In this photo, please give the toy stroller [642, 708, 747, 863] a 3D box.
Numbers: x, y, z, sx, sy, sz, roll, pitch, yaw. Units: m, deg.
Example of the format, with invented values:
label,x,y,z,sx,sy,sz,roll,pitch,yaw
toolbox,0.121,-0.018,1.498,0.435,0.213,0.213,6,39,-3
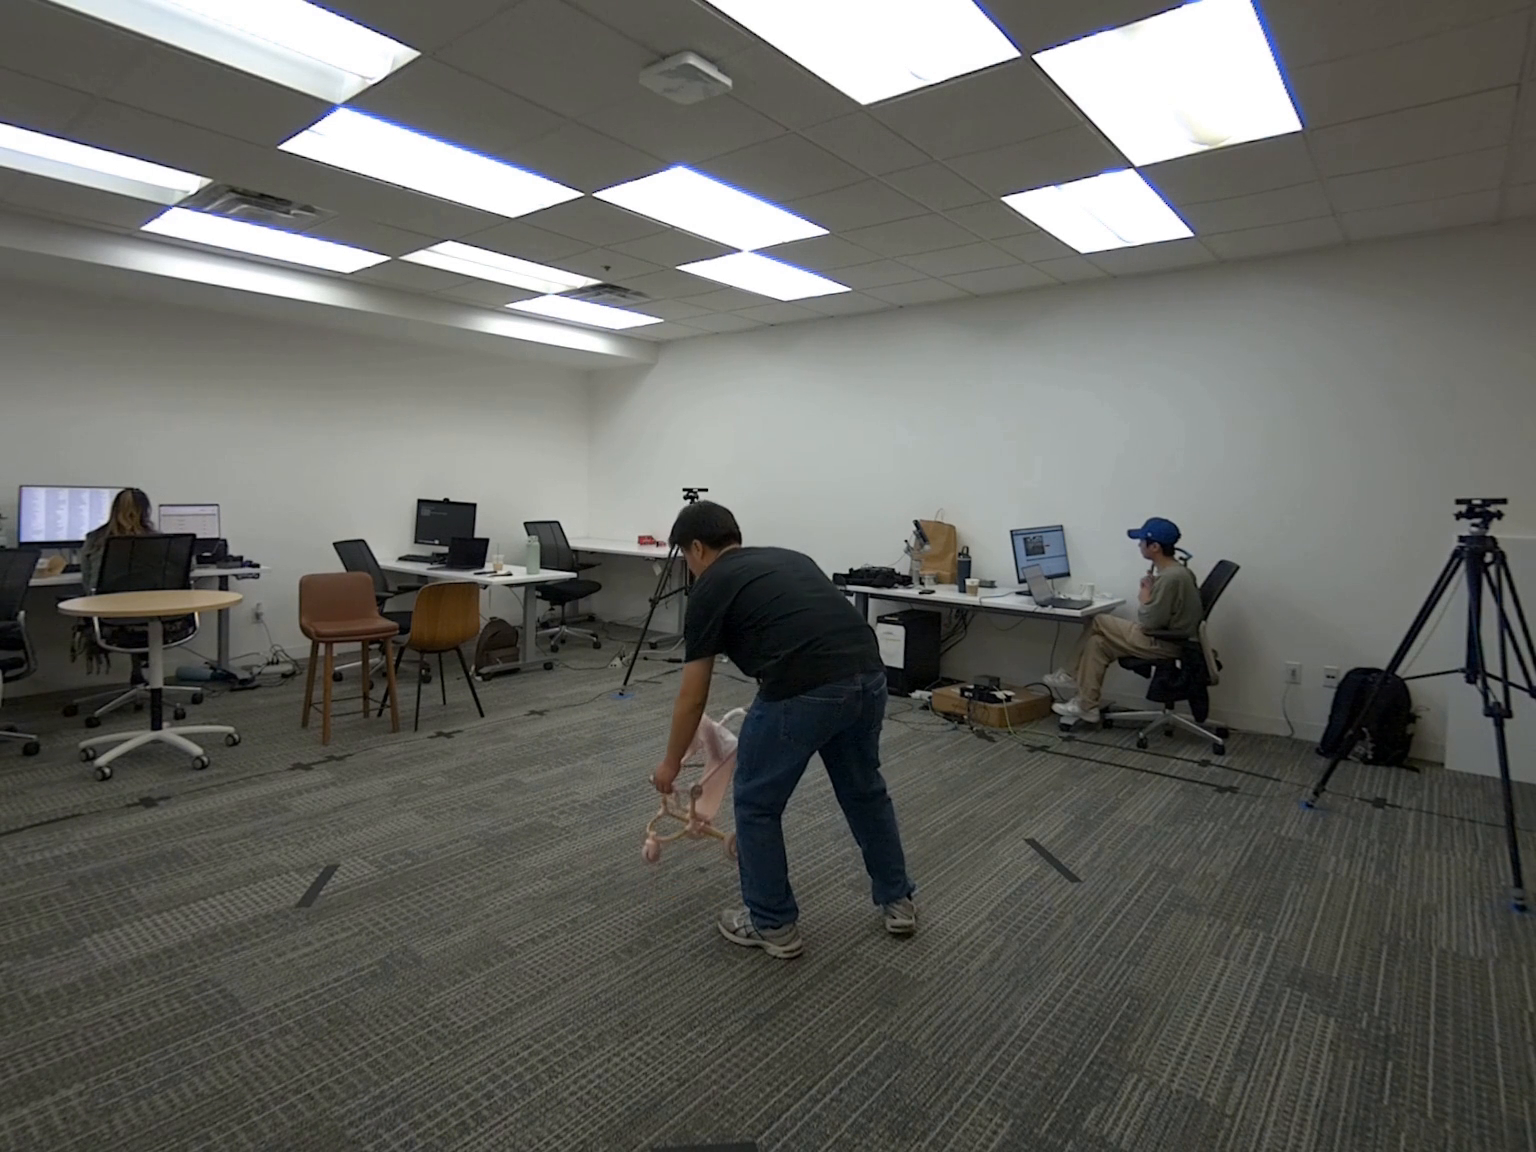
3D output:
label,x,y,z,sx,sy,sz,roll,pitch,yaw
toy stroller,-0.245,0.688,2.868,0.330,0.537,0.289,15,-7,-30
